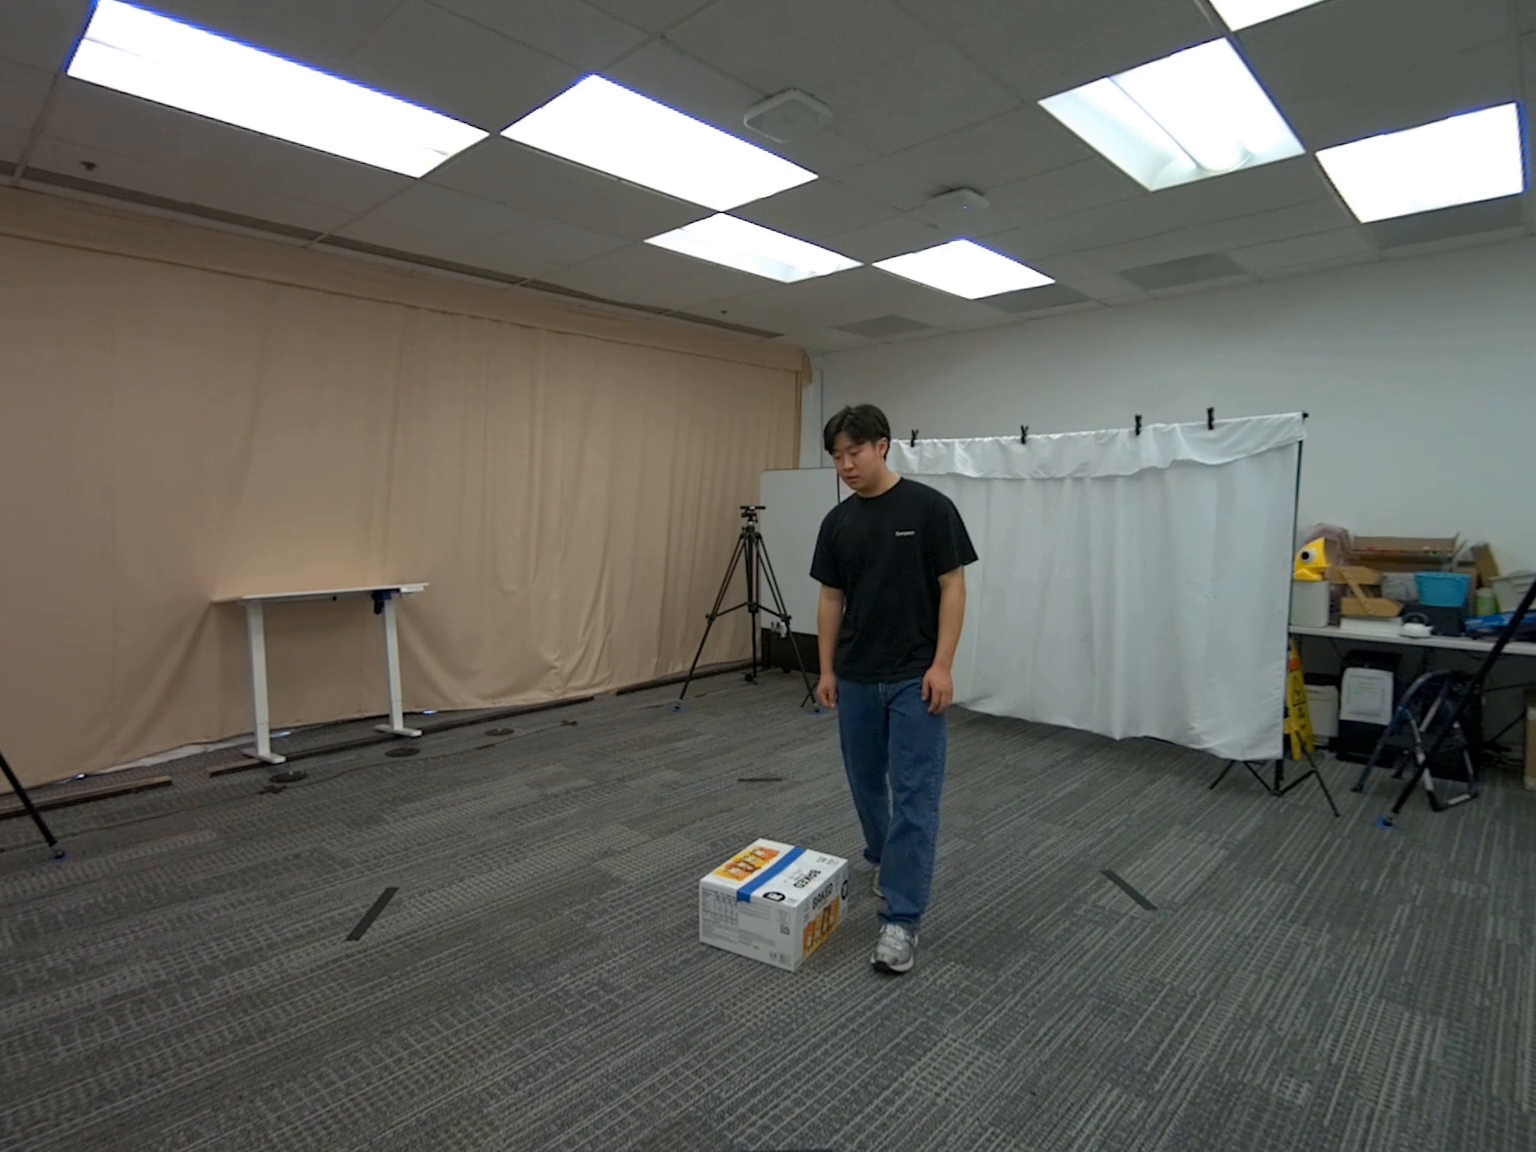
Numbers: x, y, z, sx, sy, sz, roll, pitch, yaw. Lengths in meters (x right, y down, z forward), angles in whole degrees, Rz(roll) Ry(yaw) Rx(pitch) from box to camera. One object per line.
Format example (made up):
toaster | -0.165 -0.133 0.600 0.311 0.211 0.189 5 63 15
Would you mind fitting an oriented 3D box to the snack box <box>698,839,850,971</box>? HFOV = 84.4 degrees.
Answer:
snack box | 0.029 1.062 2.753 0.350 0.205 0.394 2 5 30
